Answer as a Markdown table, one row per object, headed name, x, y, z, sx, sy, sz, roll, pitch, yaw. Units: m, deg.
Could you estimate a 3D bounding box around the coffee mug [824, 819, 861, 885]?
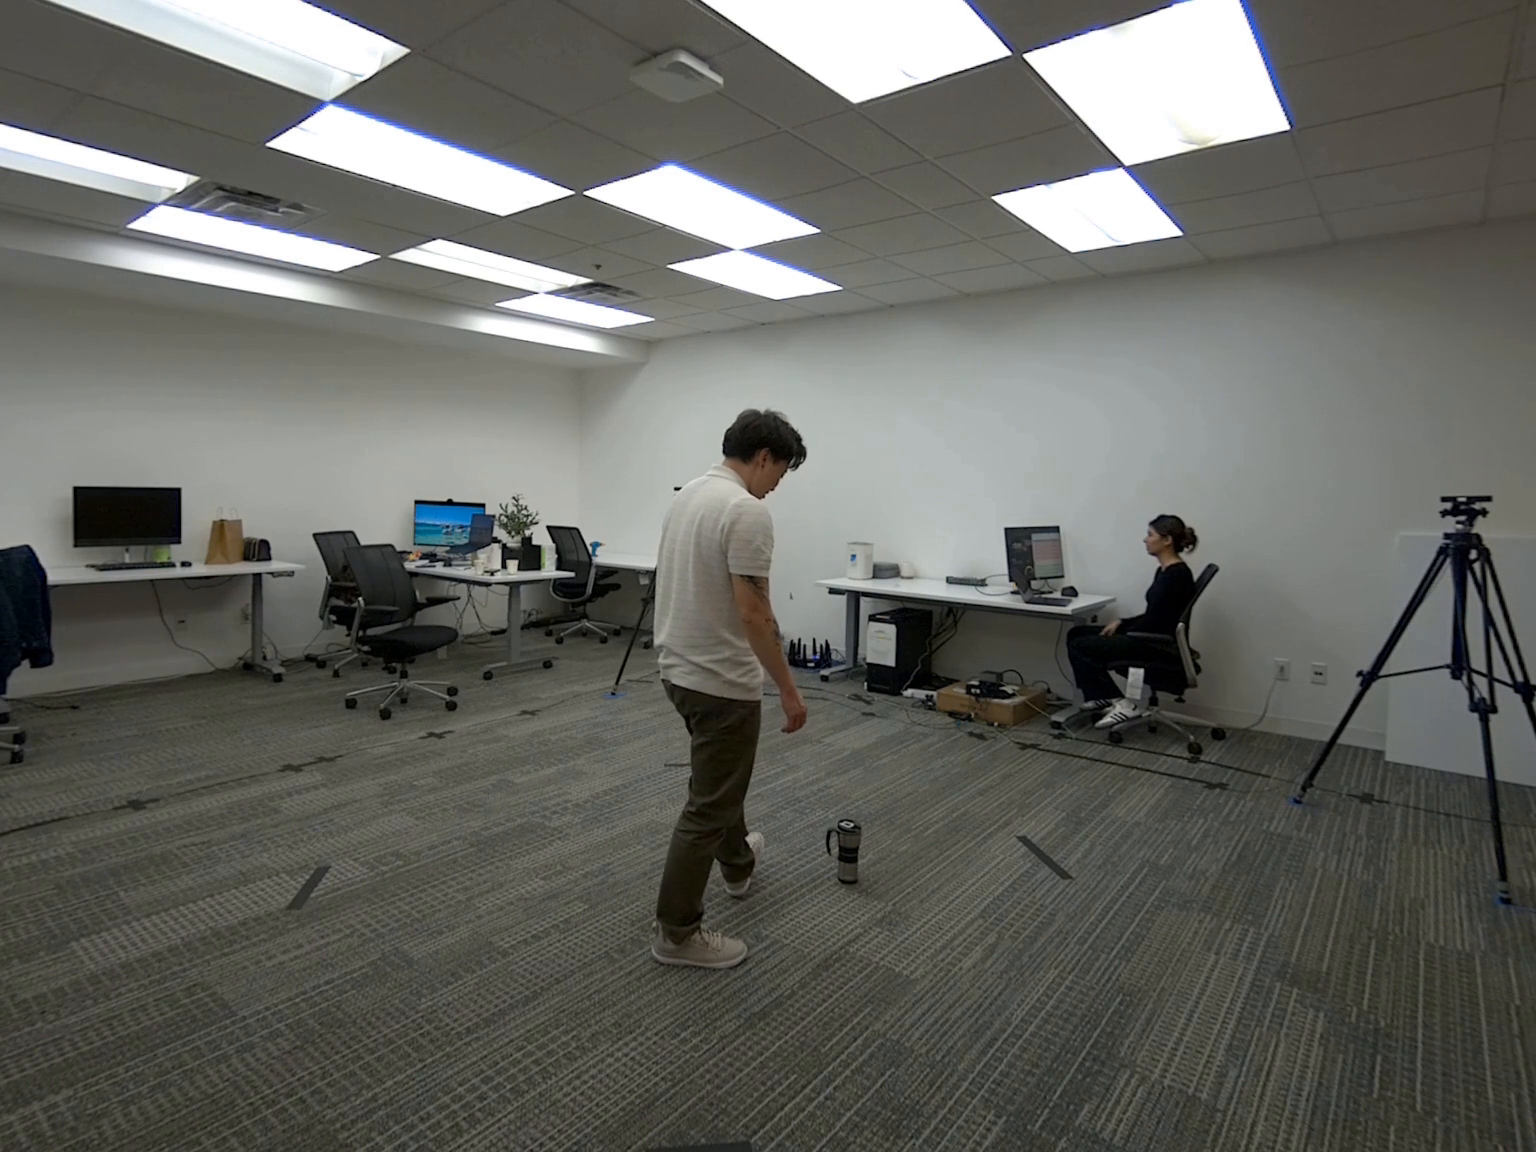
| name | x | y | z | sx | sy | sz | roll | pitch | yaw |
| --- | --- | --- | --- | --- | --- | --- | --- | --- | --- |
| coffee mug | 0.265 | 0.987 | 3.046 | 0.126 | 0.201 | 0.086 | 7 | 9 | 31 |
